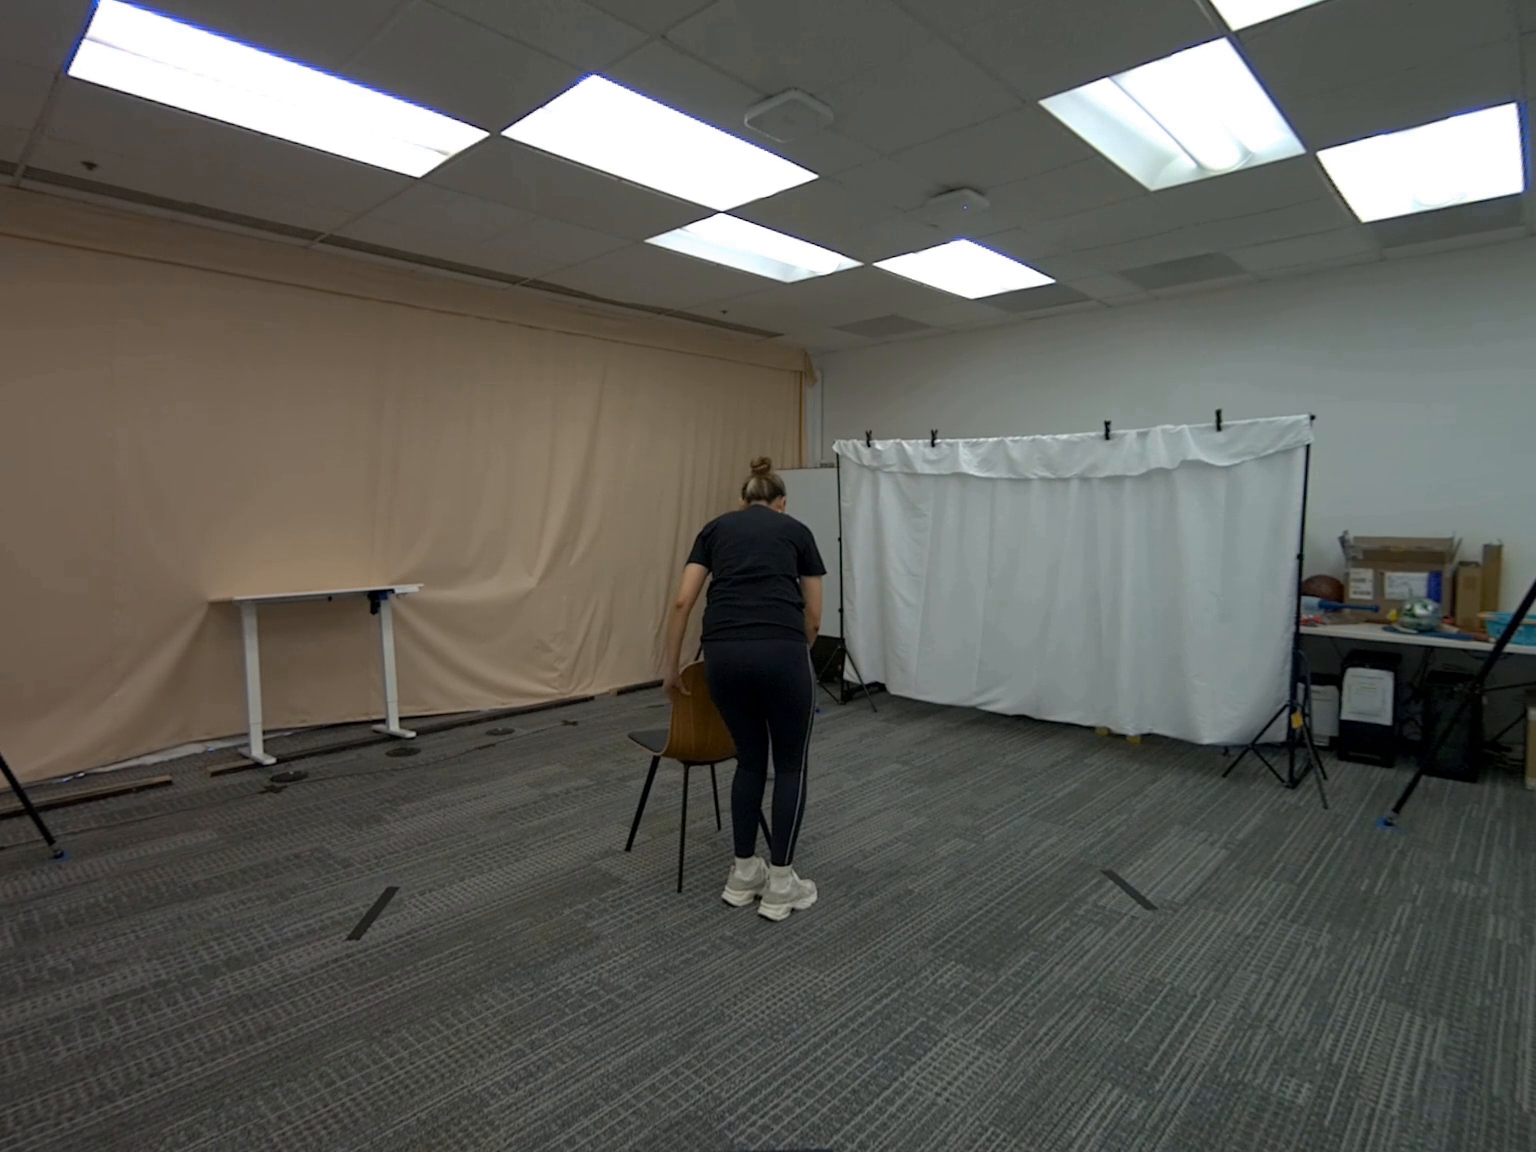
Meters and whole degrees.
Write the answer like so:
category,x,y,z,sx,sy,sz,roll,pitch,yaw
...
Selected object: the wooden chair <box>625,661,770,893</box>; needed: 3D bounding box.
category,x,y,z,sx,sy,sz,roll,pitch,yaw
wooden chair,-0.276,0.688,3.313,0.465,0.874,0.540,-2,8,-33
